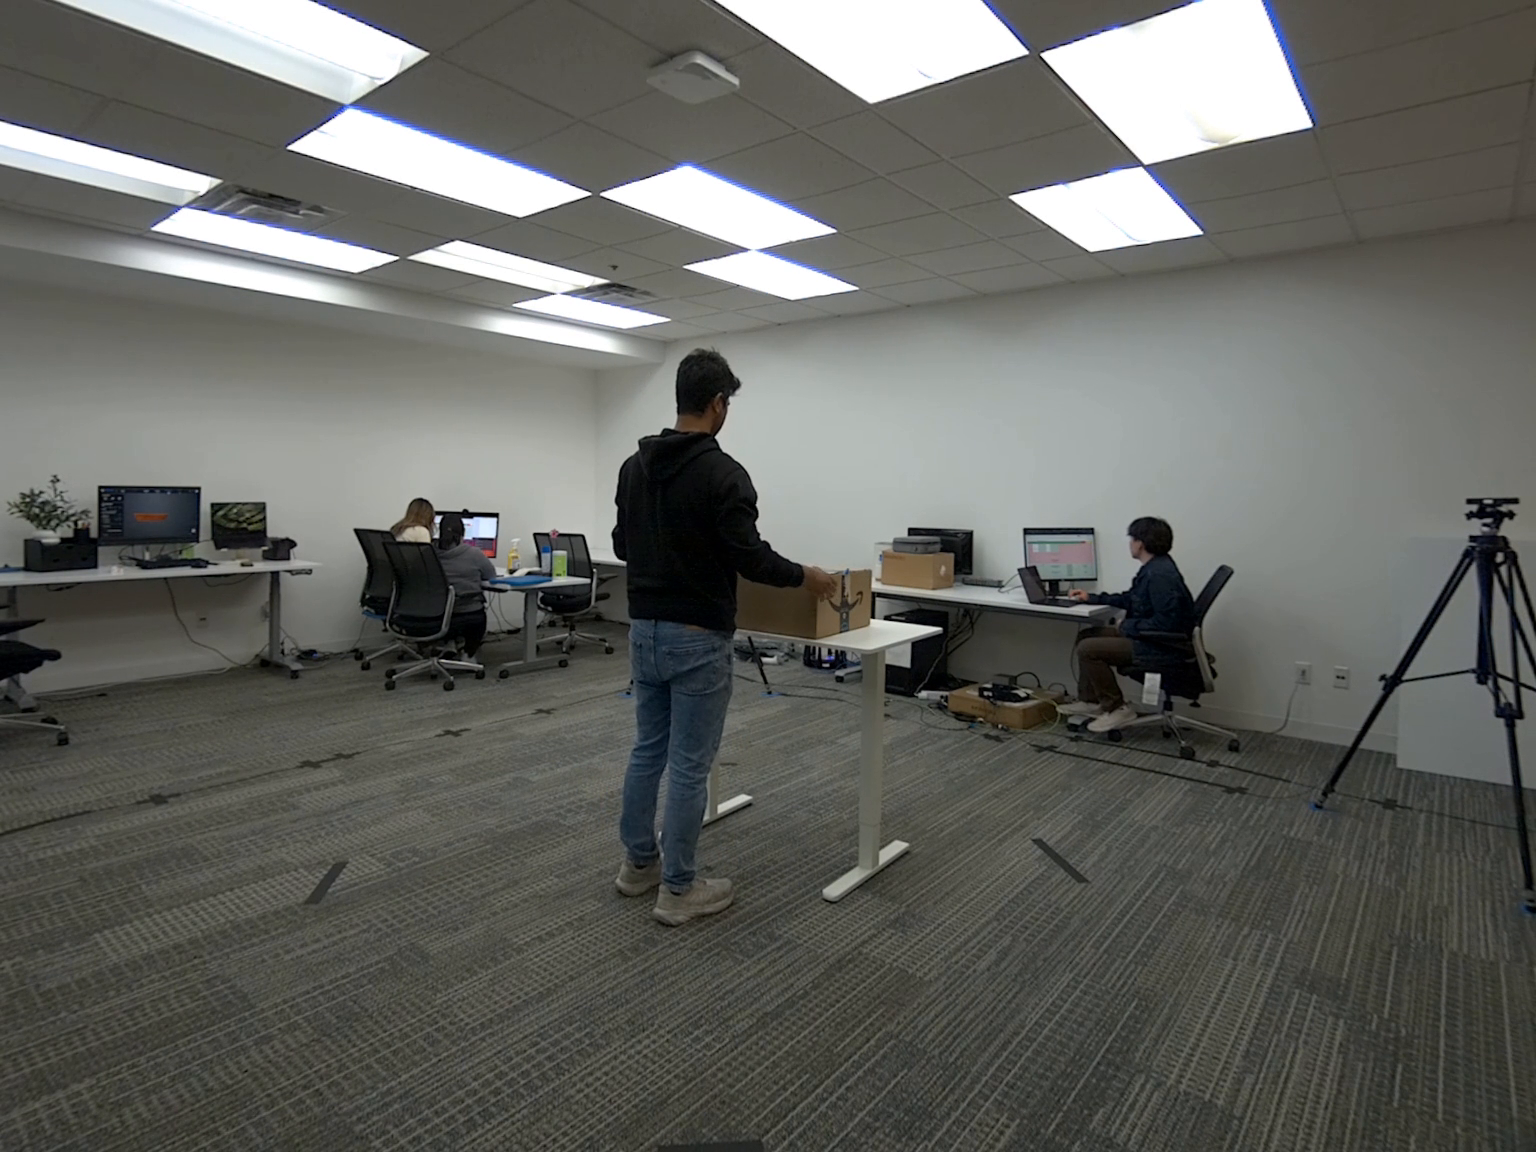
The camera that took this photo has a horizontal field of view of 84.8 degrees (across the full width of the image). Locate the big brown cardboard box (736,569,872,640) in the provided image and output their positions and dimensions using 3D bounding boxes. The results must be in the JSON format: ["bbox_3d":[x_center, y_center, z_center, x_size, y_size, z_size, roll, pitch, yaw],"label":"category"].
[{"bbox_3d":[0.028,0.068,3.217,0.608,0.232,0.406,6,7,34],"label":"big brown cardboard box"}]
